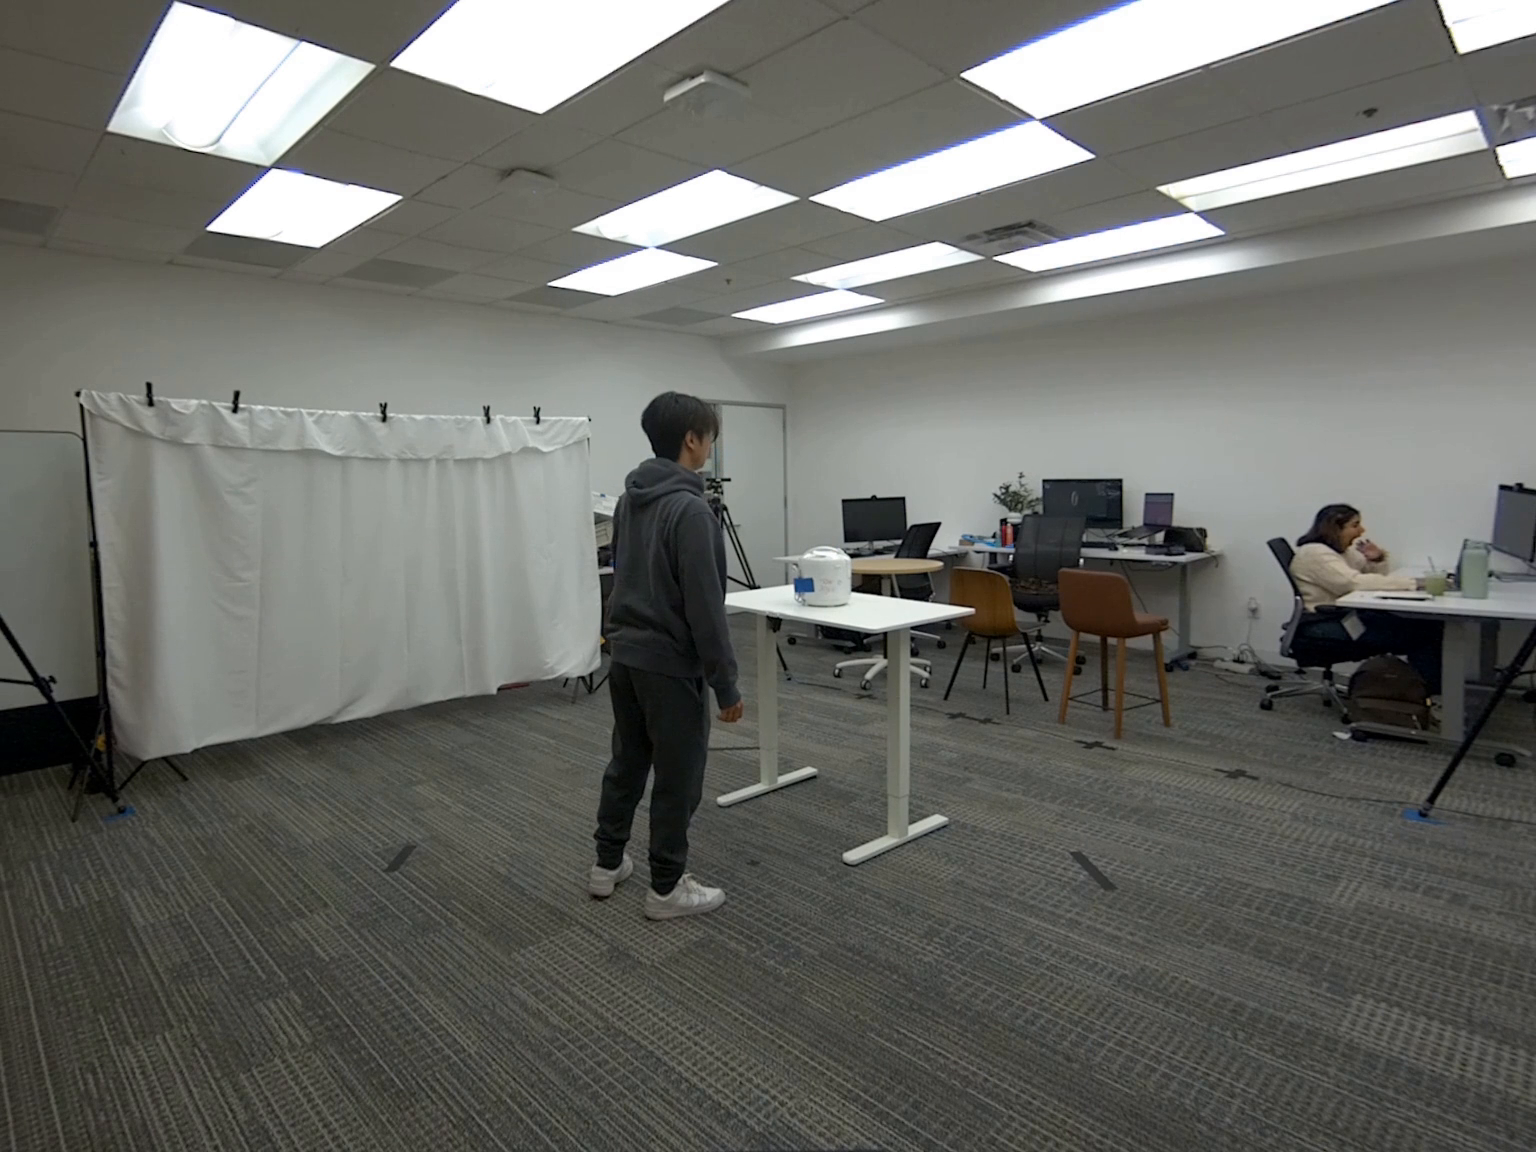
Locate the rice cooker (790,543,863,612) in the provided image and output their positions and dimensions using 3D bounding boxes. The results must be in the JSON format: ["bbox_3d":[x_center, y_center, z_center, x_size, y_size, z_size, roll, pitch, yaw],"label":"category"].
[{"bbox_3d":[0.235,-0.001,3.462,0.226,0.231,0.213,3,8,28],"label":"rice cooker"}]
